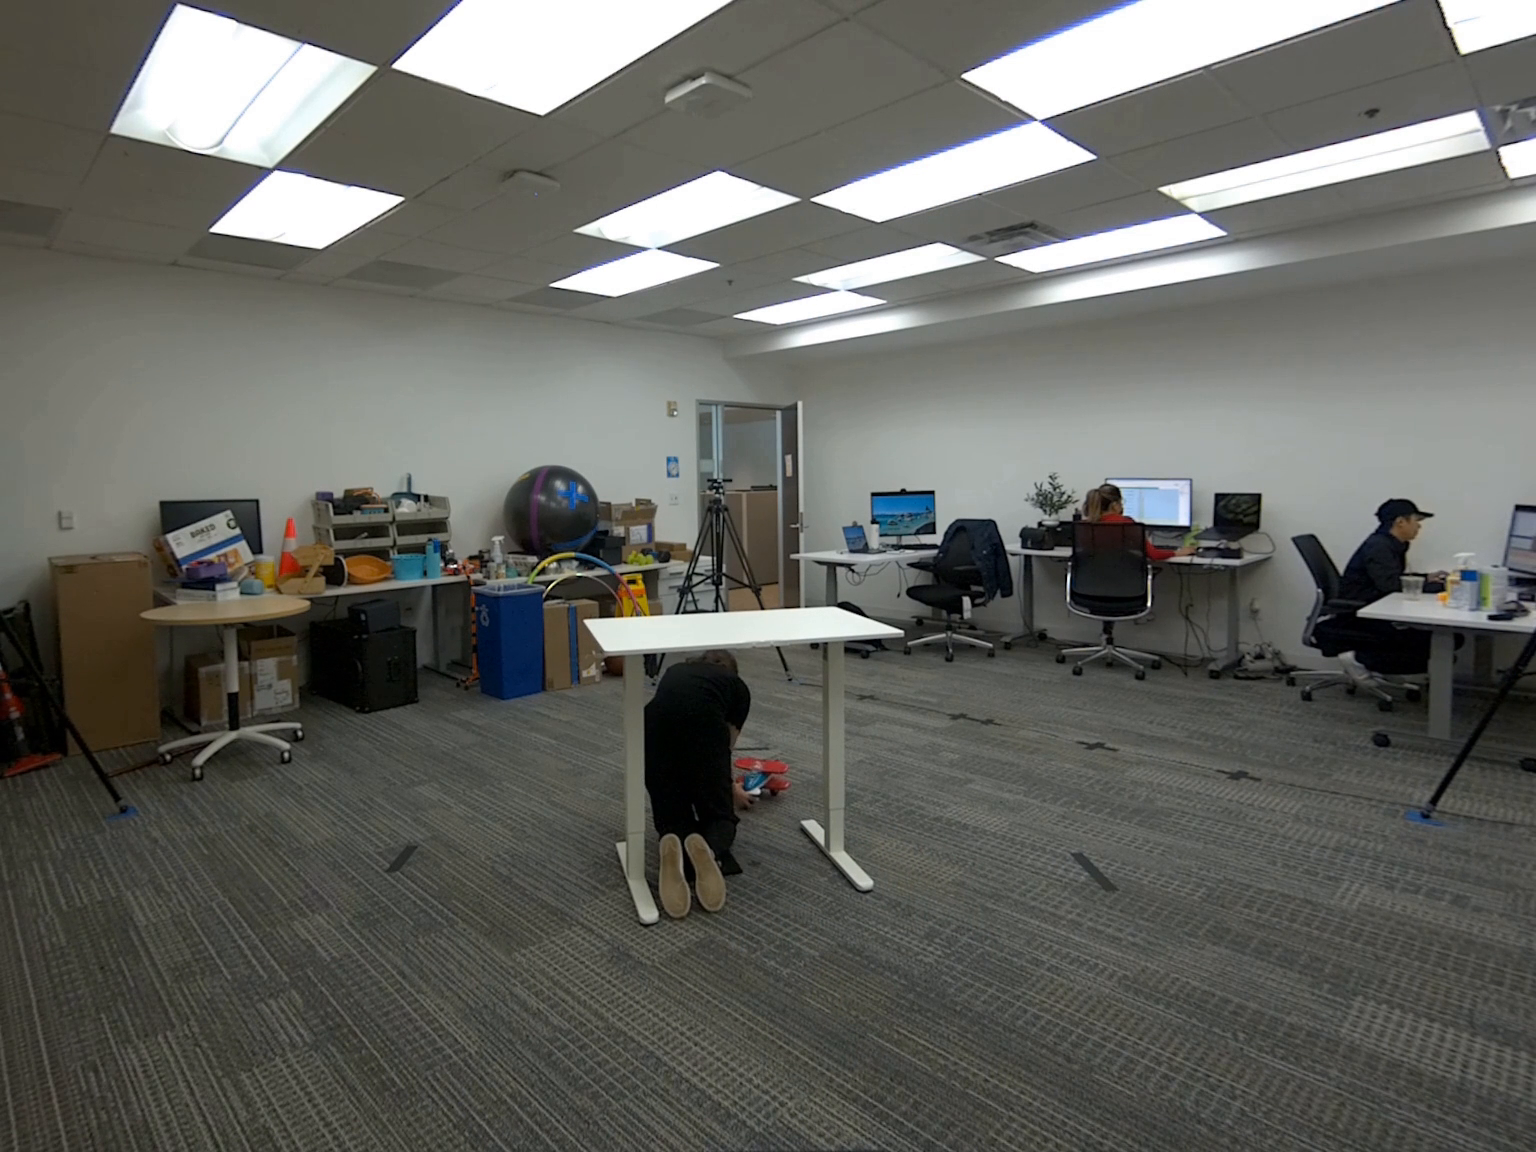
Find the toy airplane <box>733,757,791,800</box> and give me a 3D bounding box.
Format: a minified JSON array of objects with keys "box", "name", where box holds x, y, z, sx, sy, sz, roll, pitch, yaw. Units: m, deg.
[{"box":[-0.026,0.894,3.721,0.250,0.157,0.259,1,0,-3],"name":"toy airplane"}]
